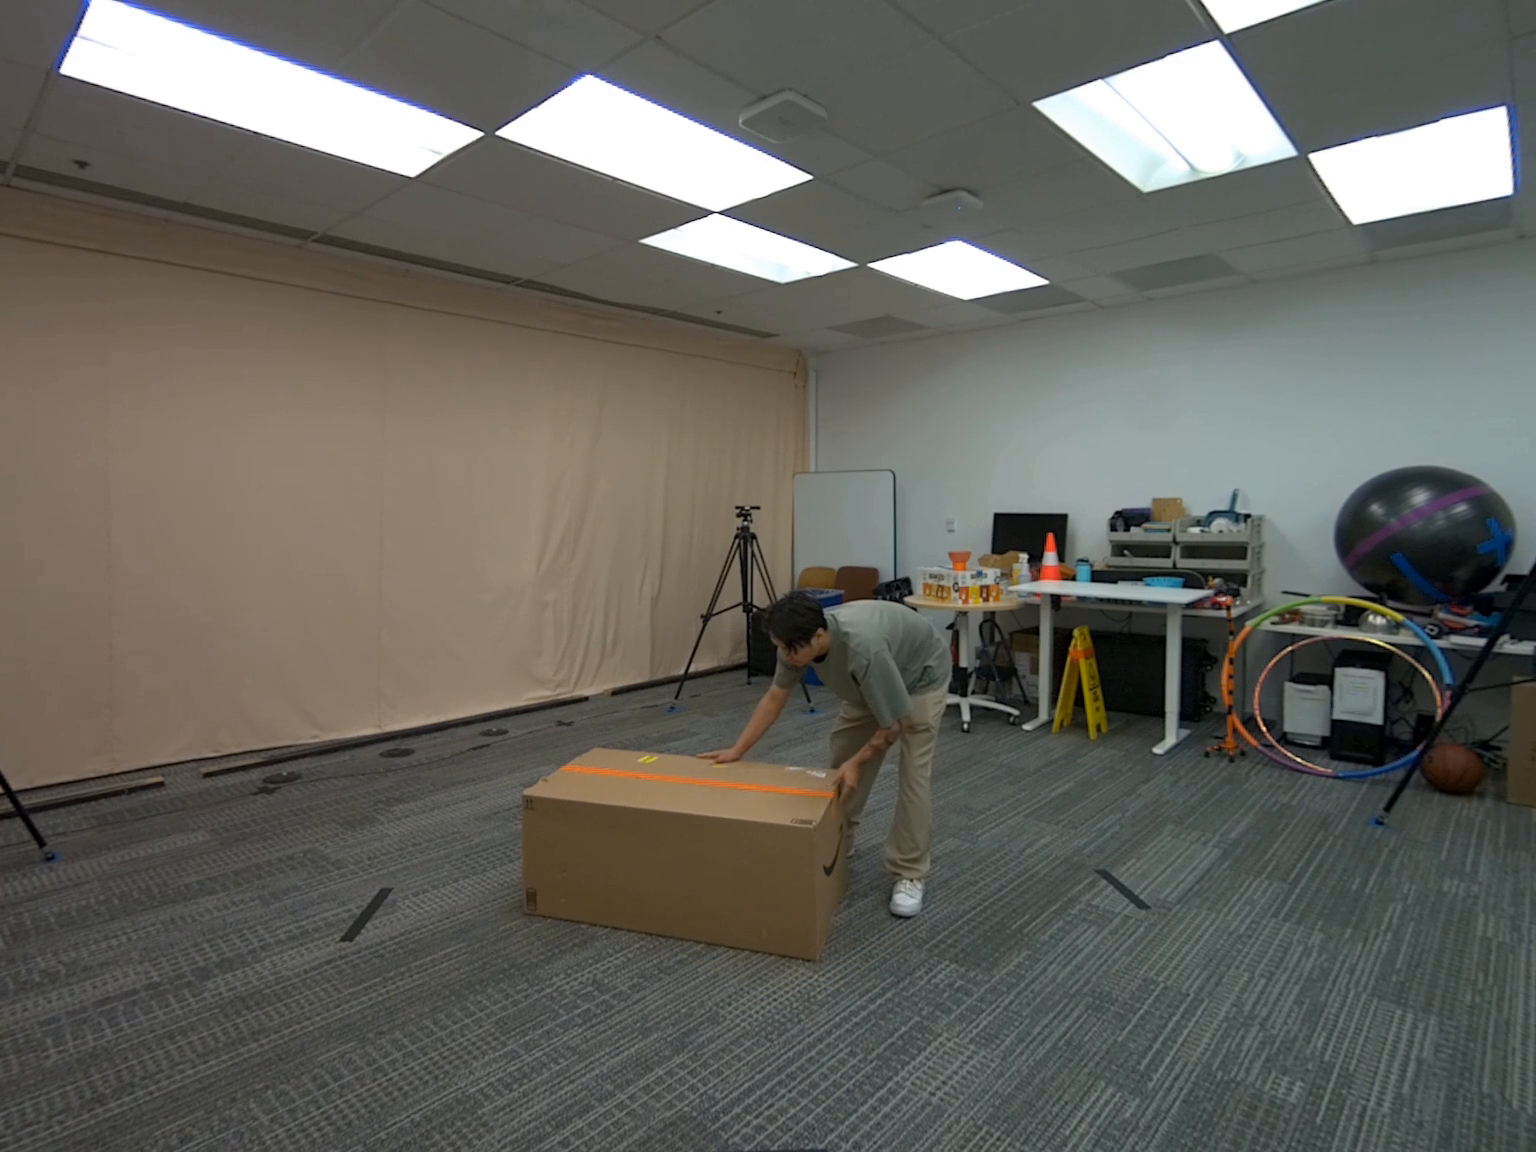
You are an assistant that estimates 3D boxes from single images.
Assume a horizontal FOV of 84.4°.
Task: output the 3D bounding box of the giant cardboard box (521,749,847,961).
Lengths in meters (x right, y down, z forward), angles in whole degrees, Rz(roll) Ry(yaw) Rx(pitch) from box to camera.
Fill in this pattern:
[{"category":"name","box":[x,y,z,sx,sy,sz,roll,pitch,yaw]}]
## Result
[{"category":"giant cardboard box","box":[-0.278,0.929,2.984,1.046,0.425,0.568,2,4,18]}]
